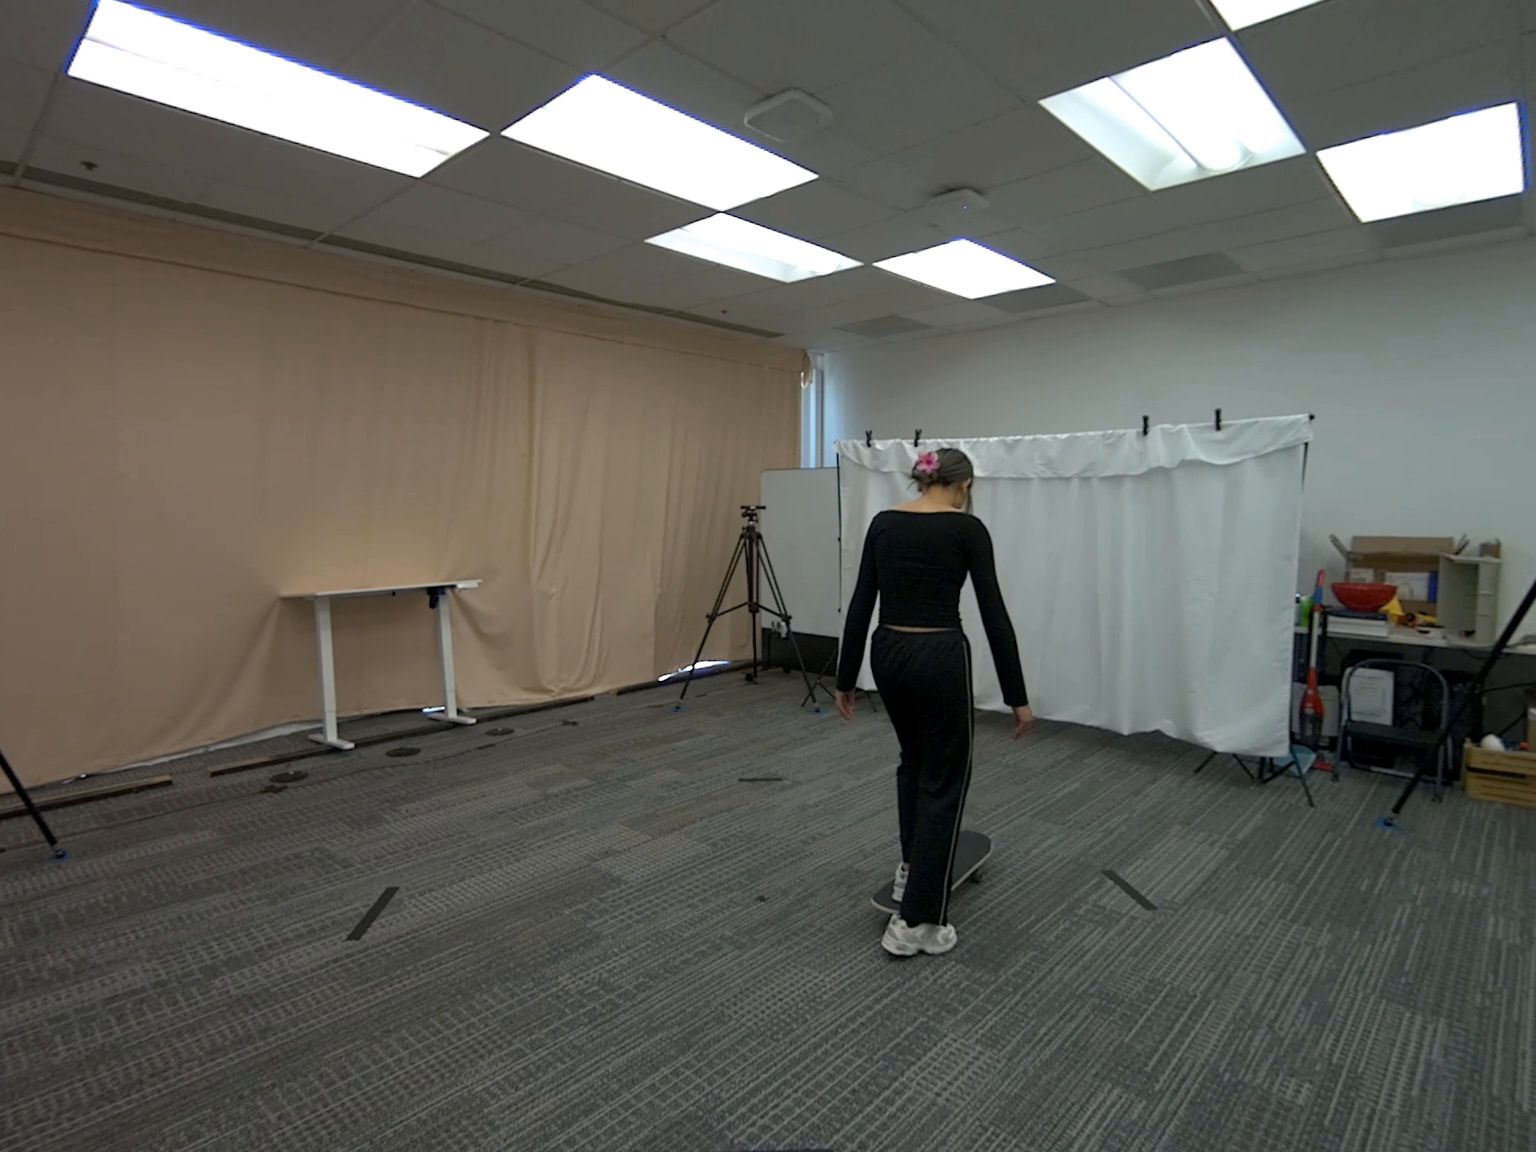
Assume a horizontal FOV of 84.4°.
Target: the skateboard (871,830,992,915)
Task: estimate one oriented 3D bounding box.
[{"bbox_3d":[0.604,1.094,3.000,0.199,0.110,0.763,3,6,35],"label":"skateboard"}]
